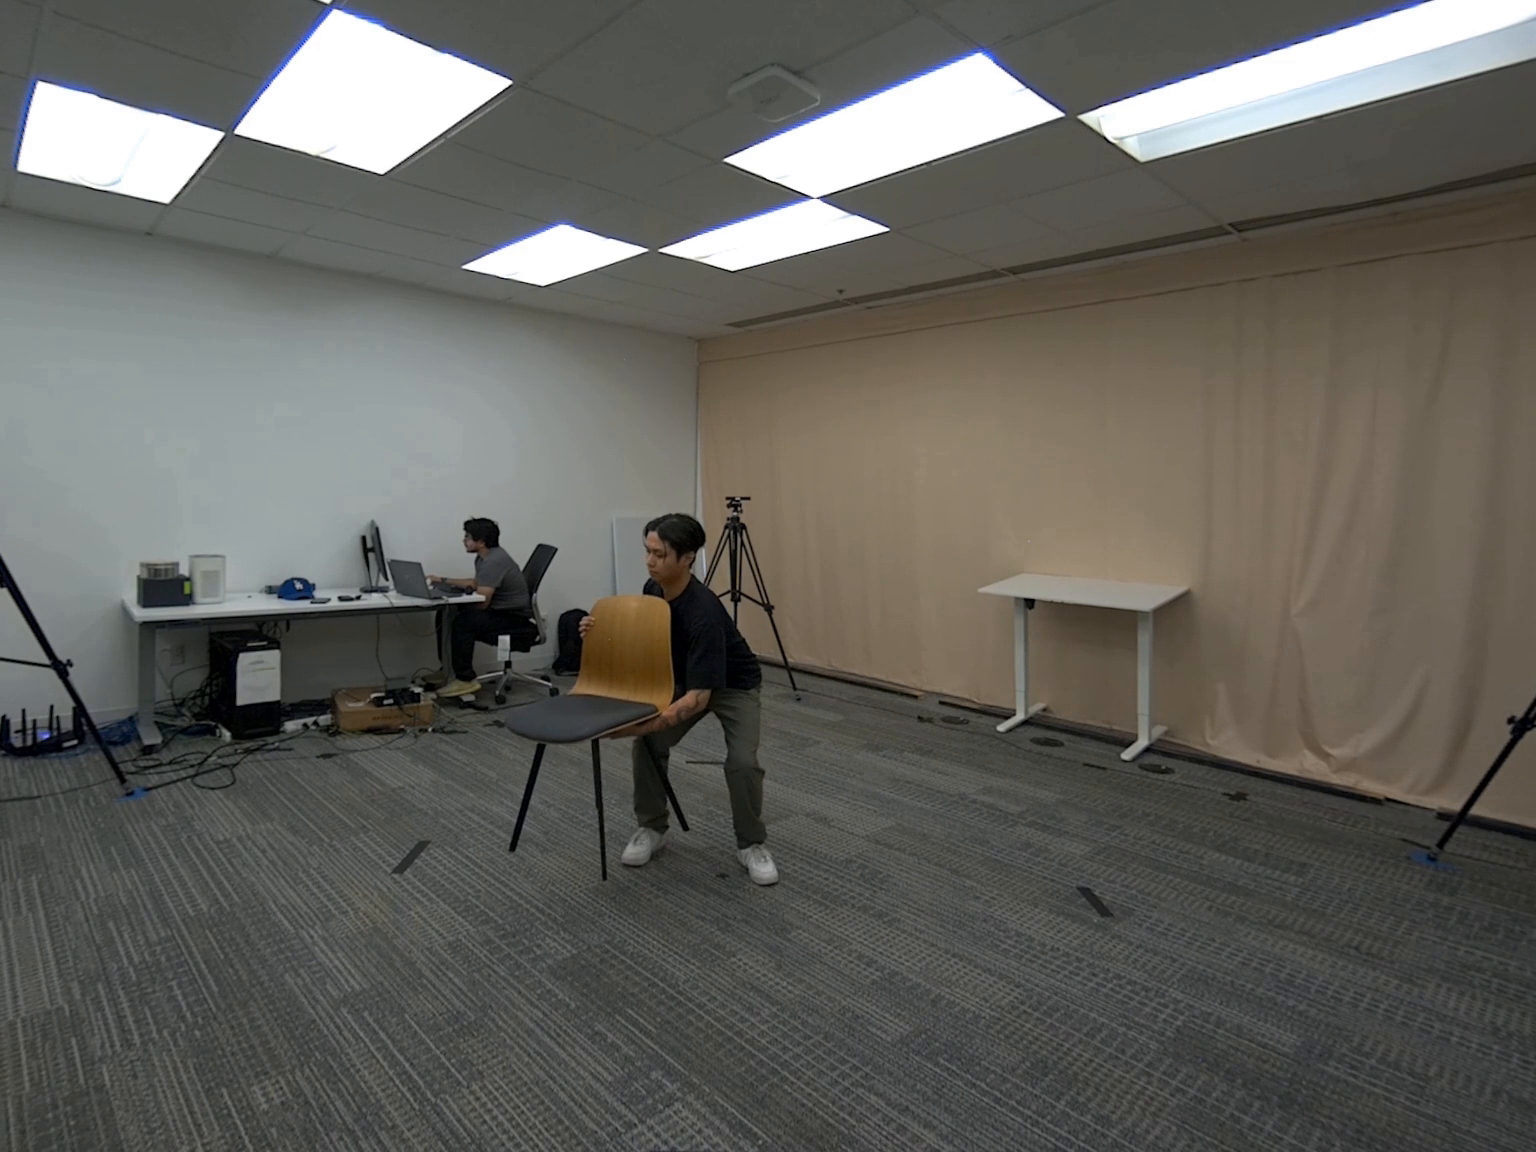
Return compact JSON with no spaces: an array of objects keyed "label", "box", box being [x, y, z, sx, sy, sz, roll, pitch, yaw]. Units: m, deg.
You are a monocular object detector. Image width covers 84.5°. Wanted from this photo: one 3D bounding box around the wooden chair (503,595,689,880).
[{"label":"wooden chair","box":[-0.612,0.522,2.942,0.489,0.877,0.512,1,1,33]}]
